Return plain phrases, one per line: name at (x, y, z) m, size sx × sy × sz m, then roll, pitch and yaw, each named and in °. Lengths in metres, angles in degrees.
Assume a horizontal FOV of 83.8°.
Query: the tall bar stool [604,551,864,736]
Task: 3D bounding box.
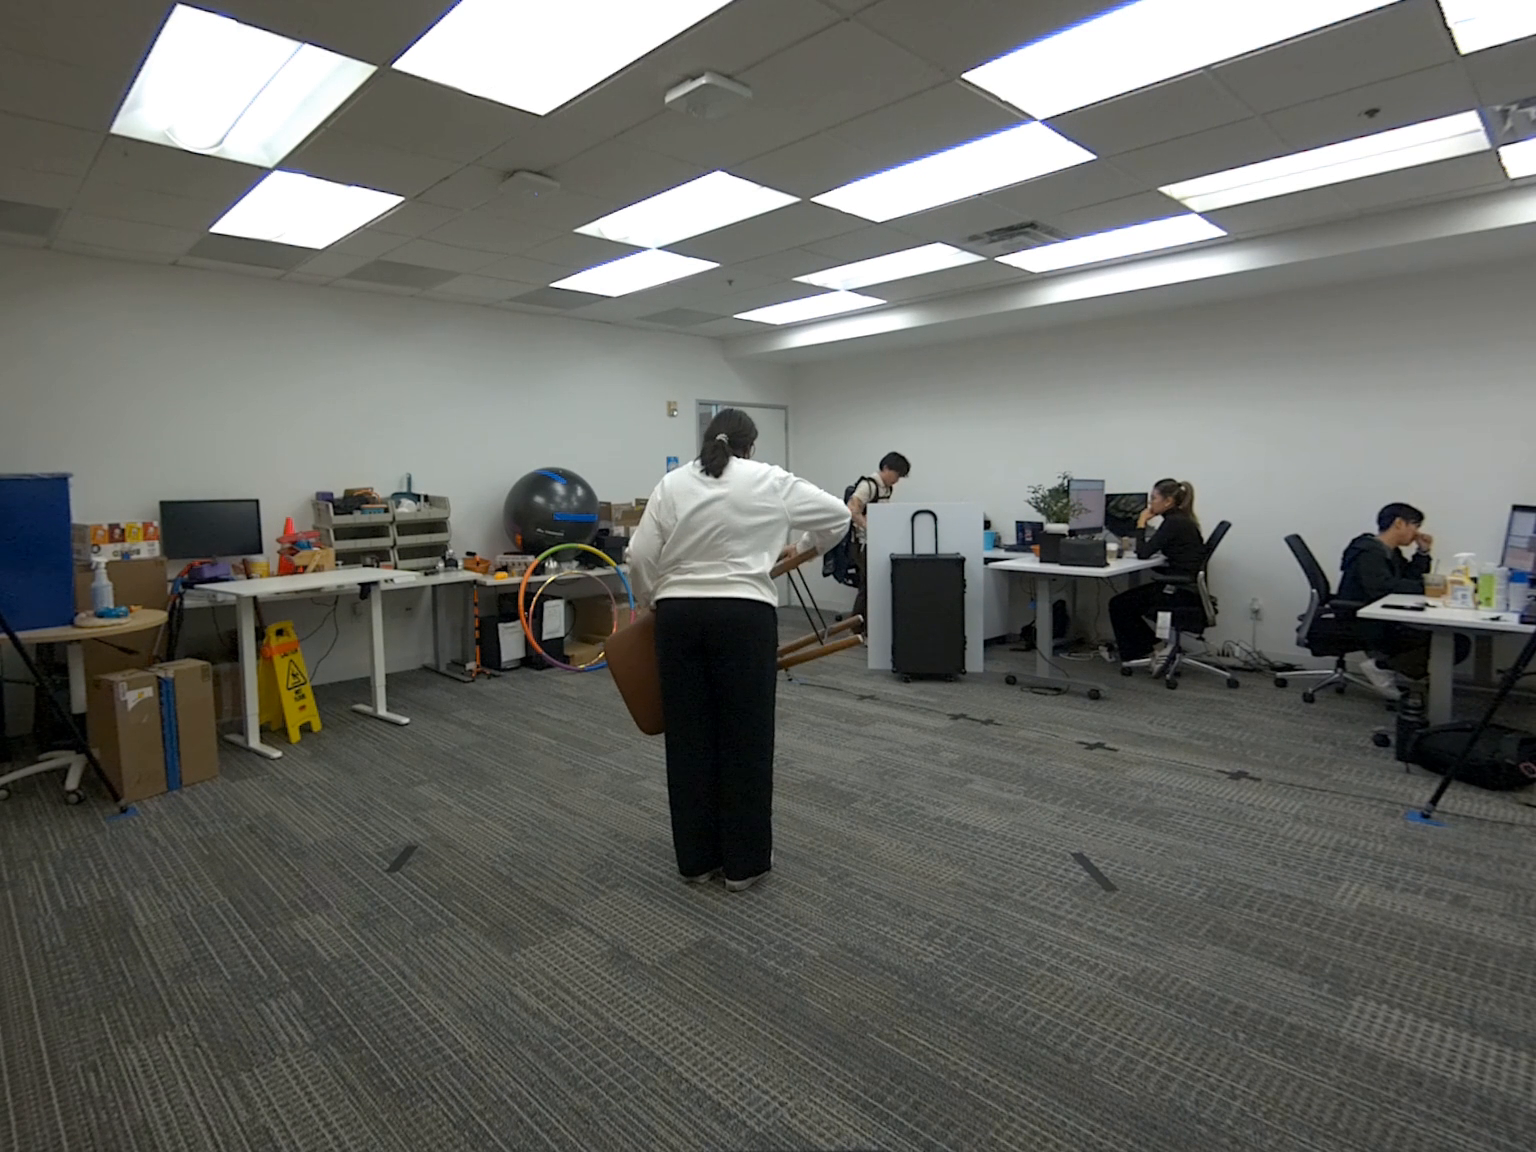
tall bar stool at (-0.120, 0.218, 3.265) m, size 0.893 × 0.455 × 0.467 m, roll -25°, pitch 3°, yaw 9°
